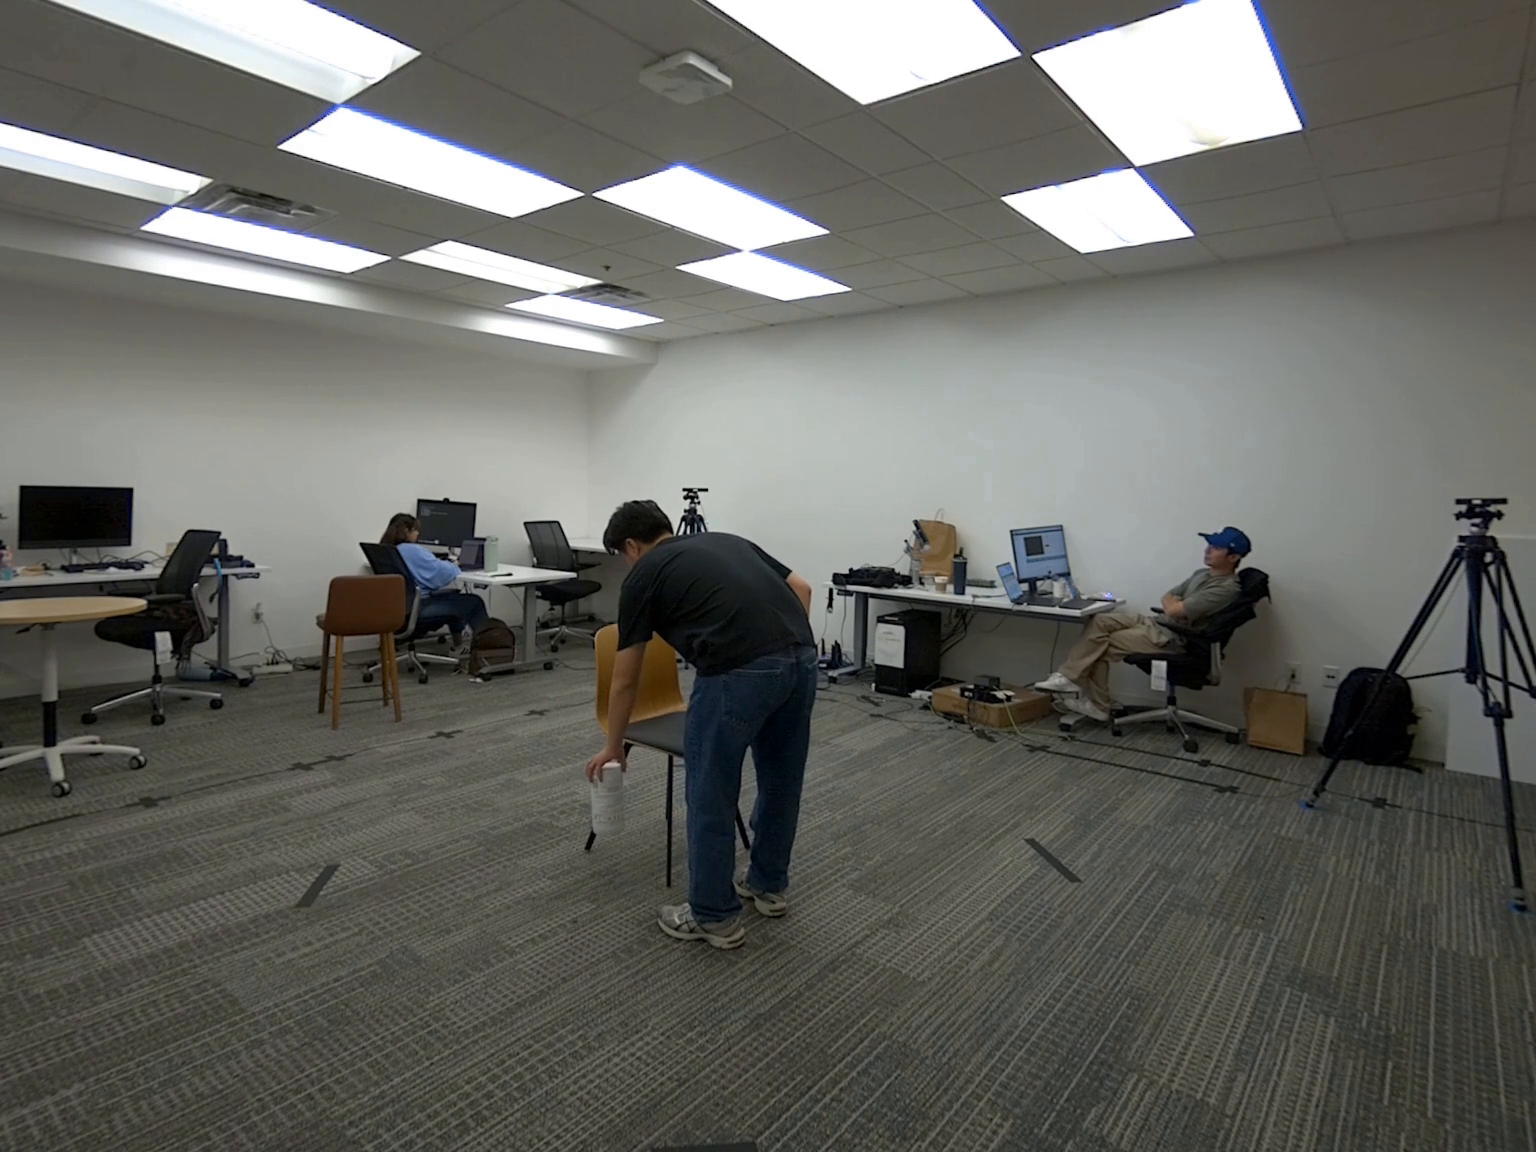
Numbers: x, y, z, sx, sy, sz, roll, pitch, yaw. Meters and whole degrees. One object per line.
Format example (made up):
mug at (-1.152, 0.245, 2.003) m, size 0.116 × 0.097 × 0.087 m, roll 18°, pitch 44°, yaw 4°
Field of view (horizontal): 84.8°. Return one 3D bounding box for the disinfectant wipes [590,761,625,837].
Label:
disinfectant wipes at (-0.548, 0.734, 2.852) m, size 0.118 × 0.217 × 0.118 m, roll -4°, pitch 2°, yaw -2°
